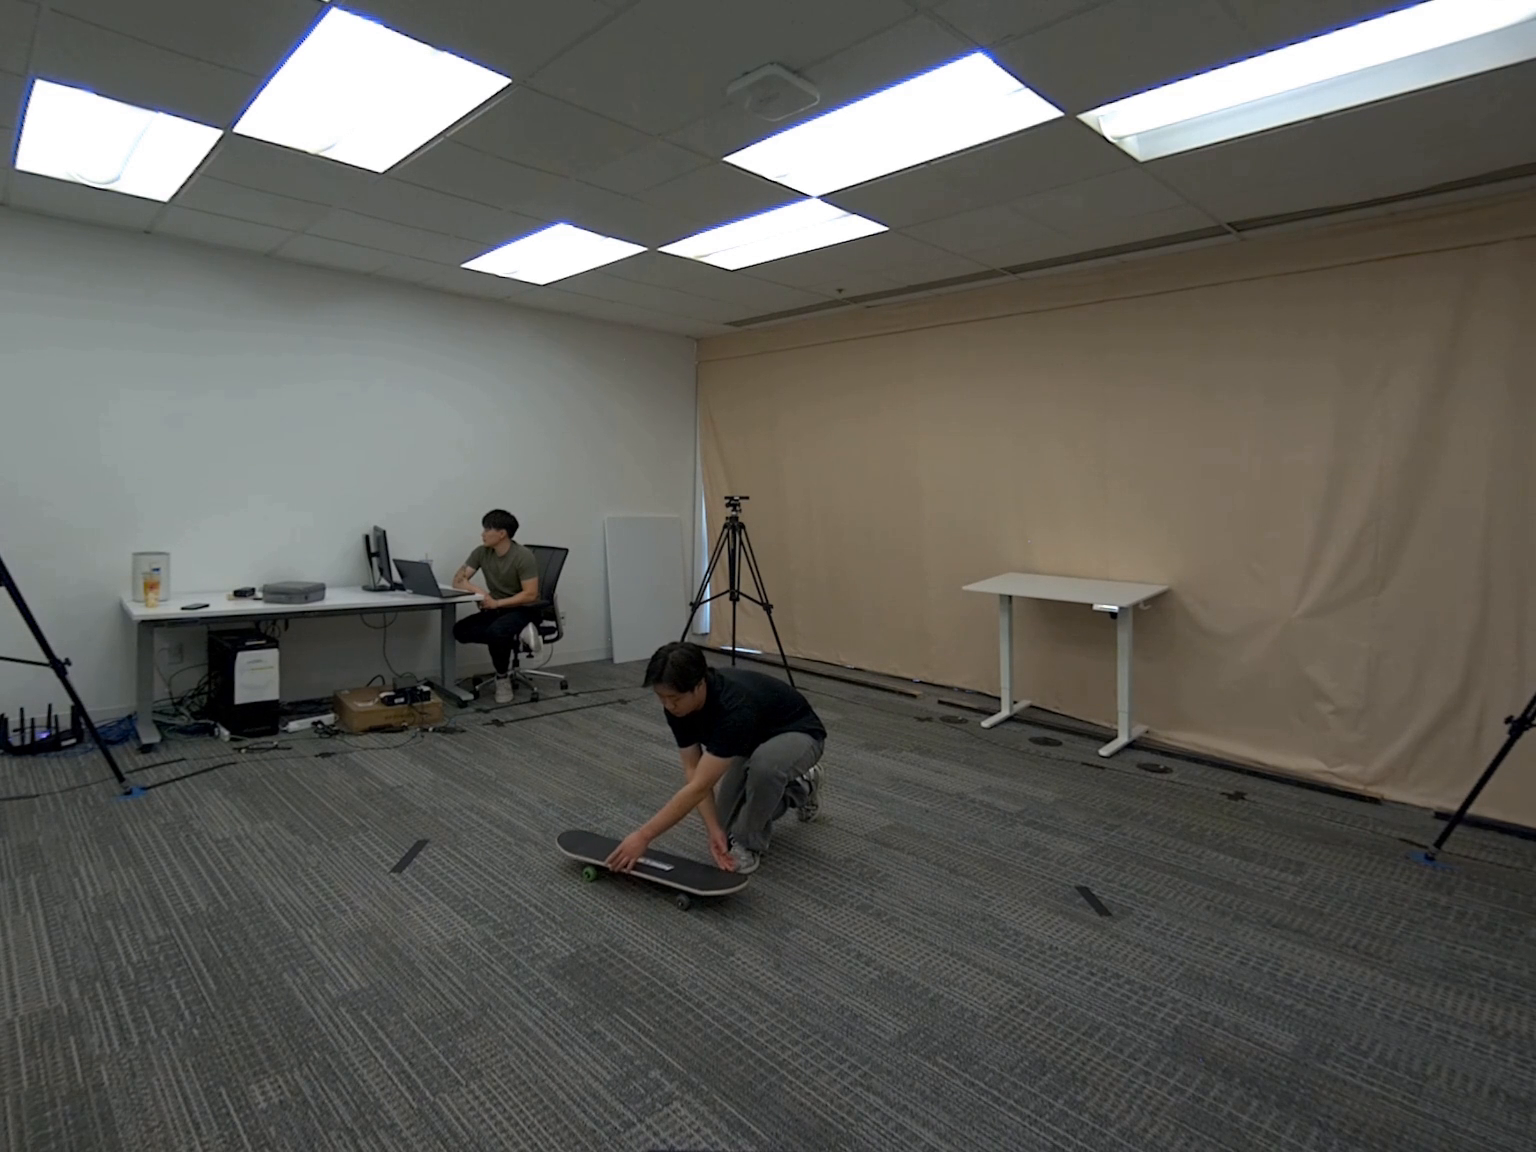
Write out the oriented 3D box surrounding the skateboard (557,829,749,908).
[{"bbox_3d":[-0.423,1.041,2.999,0.802,0.110,0.190,4,5,28],"label":"skateboard"}]
